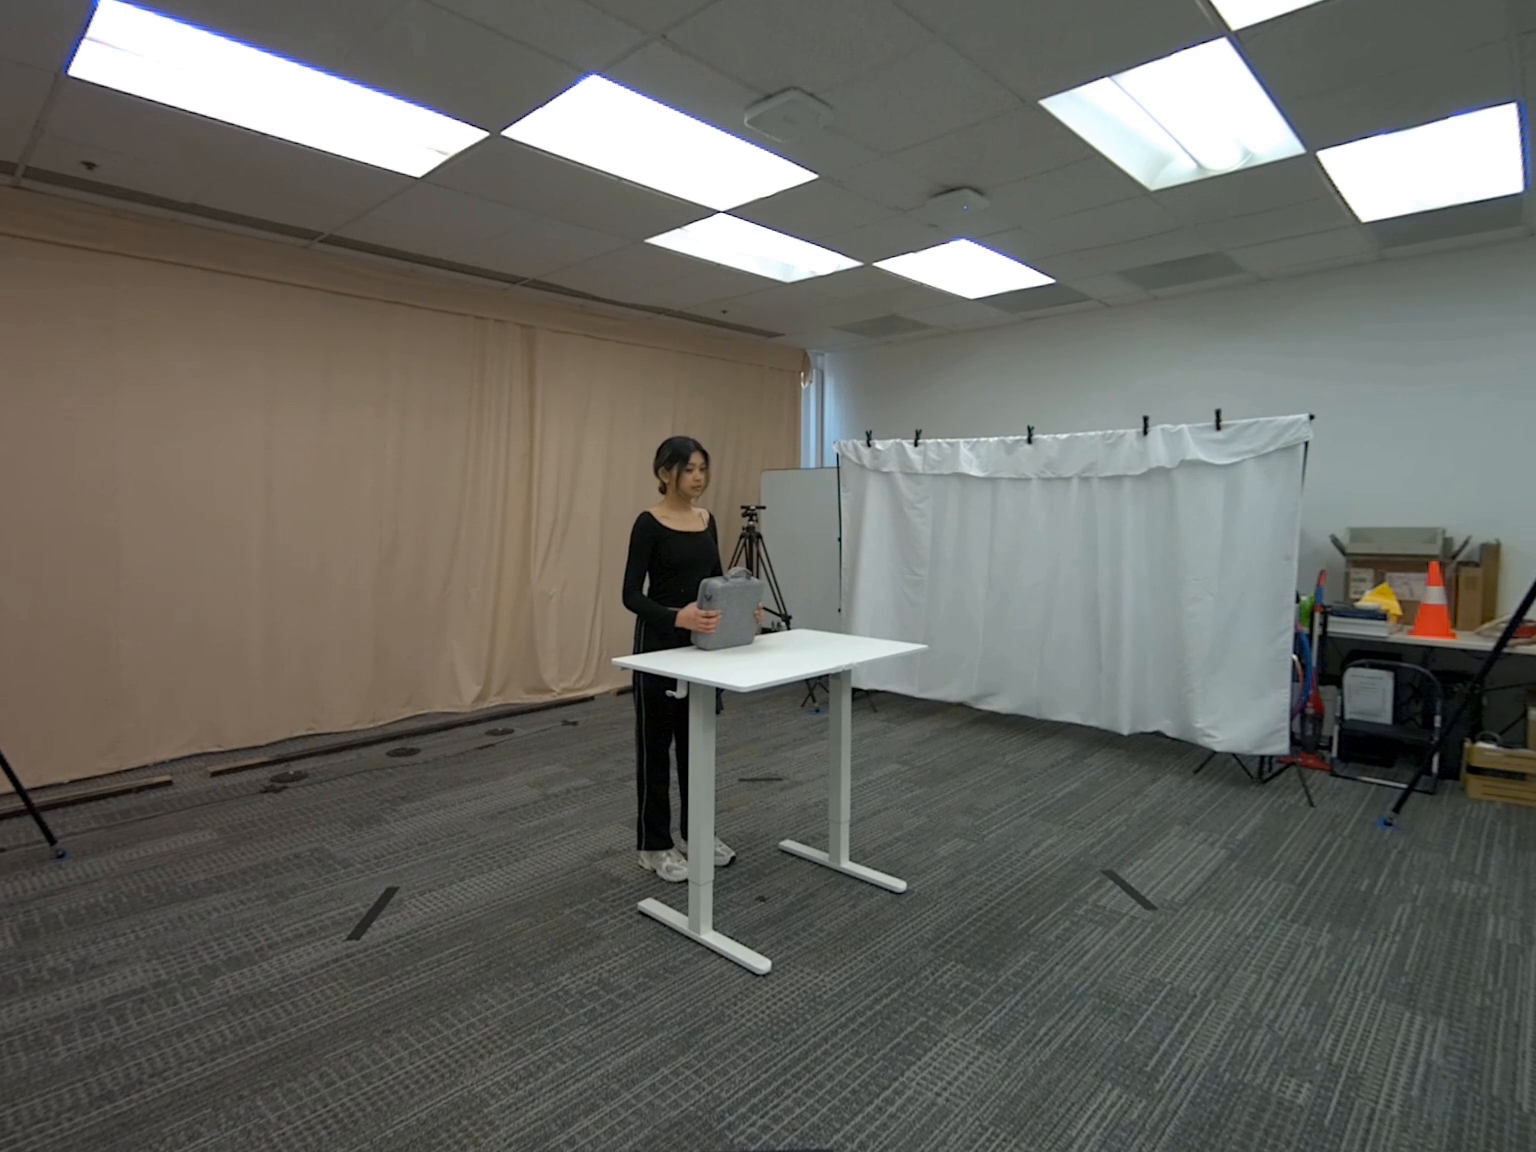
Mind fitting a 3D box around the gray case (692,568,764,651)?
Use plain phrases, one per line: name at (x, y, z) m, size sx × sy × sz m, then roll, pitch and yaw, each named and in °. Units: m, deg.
gray case at (-0.151, 0.124, 3.031) m, size 0.249 × 0.259 × 0.108 m, roll -4°, pitch 17°, yaw -44°
